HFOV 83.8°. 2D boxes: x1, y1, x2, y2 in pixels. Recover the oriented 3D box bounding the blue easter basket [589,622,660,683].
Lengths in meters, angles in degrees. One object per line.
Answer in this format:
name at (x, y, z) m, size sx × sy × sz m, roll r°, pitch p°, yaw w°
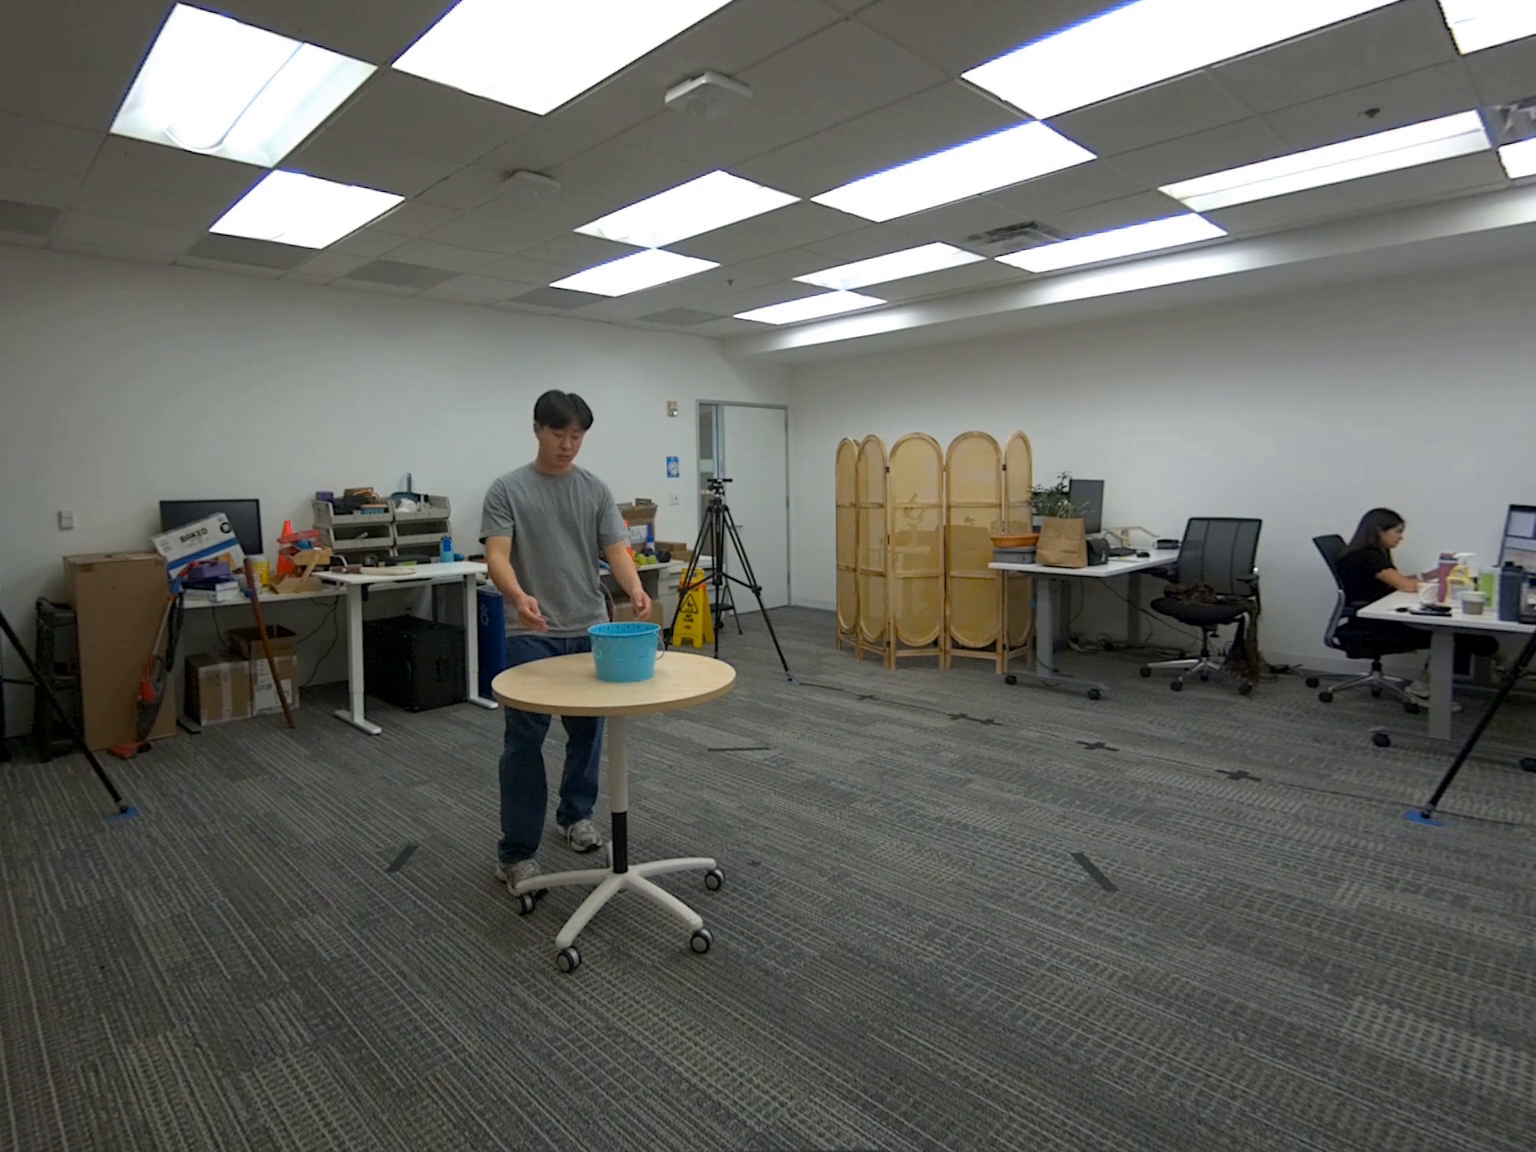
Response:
blue easter basket at (-0.448, 0.244, 2.697) m, size 0.243 × 0.155 × 0.245 m, roll -2°, pitch 6°, yaw -2°
